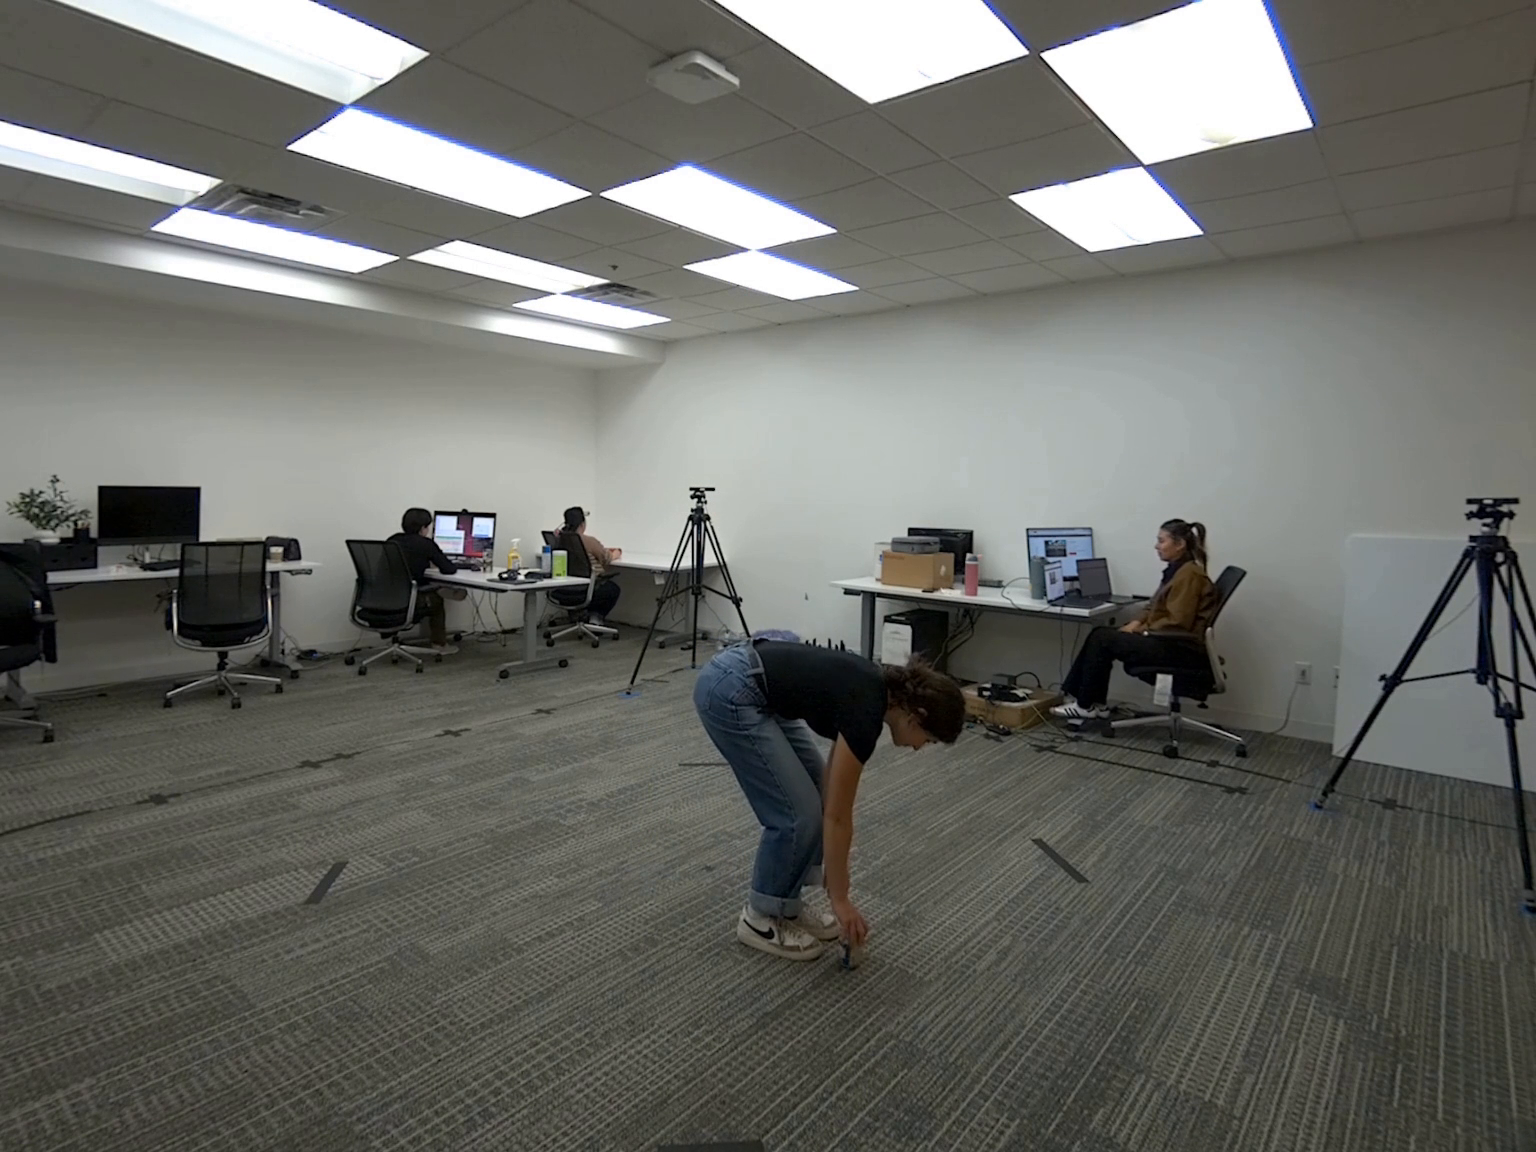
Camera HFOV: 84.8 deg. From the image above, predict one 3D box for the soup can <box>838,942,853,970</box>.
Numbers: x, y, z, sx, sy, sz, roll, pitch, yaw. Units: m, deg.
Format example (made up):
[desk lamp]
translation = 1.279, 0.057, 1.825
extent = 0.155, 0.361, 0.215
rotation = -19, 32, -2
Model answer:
[soup can]
translation = 0.237, 1.058, 2.480
extent = 0.067, 0.121, 0.067
rotation = 2, 6, -2
